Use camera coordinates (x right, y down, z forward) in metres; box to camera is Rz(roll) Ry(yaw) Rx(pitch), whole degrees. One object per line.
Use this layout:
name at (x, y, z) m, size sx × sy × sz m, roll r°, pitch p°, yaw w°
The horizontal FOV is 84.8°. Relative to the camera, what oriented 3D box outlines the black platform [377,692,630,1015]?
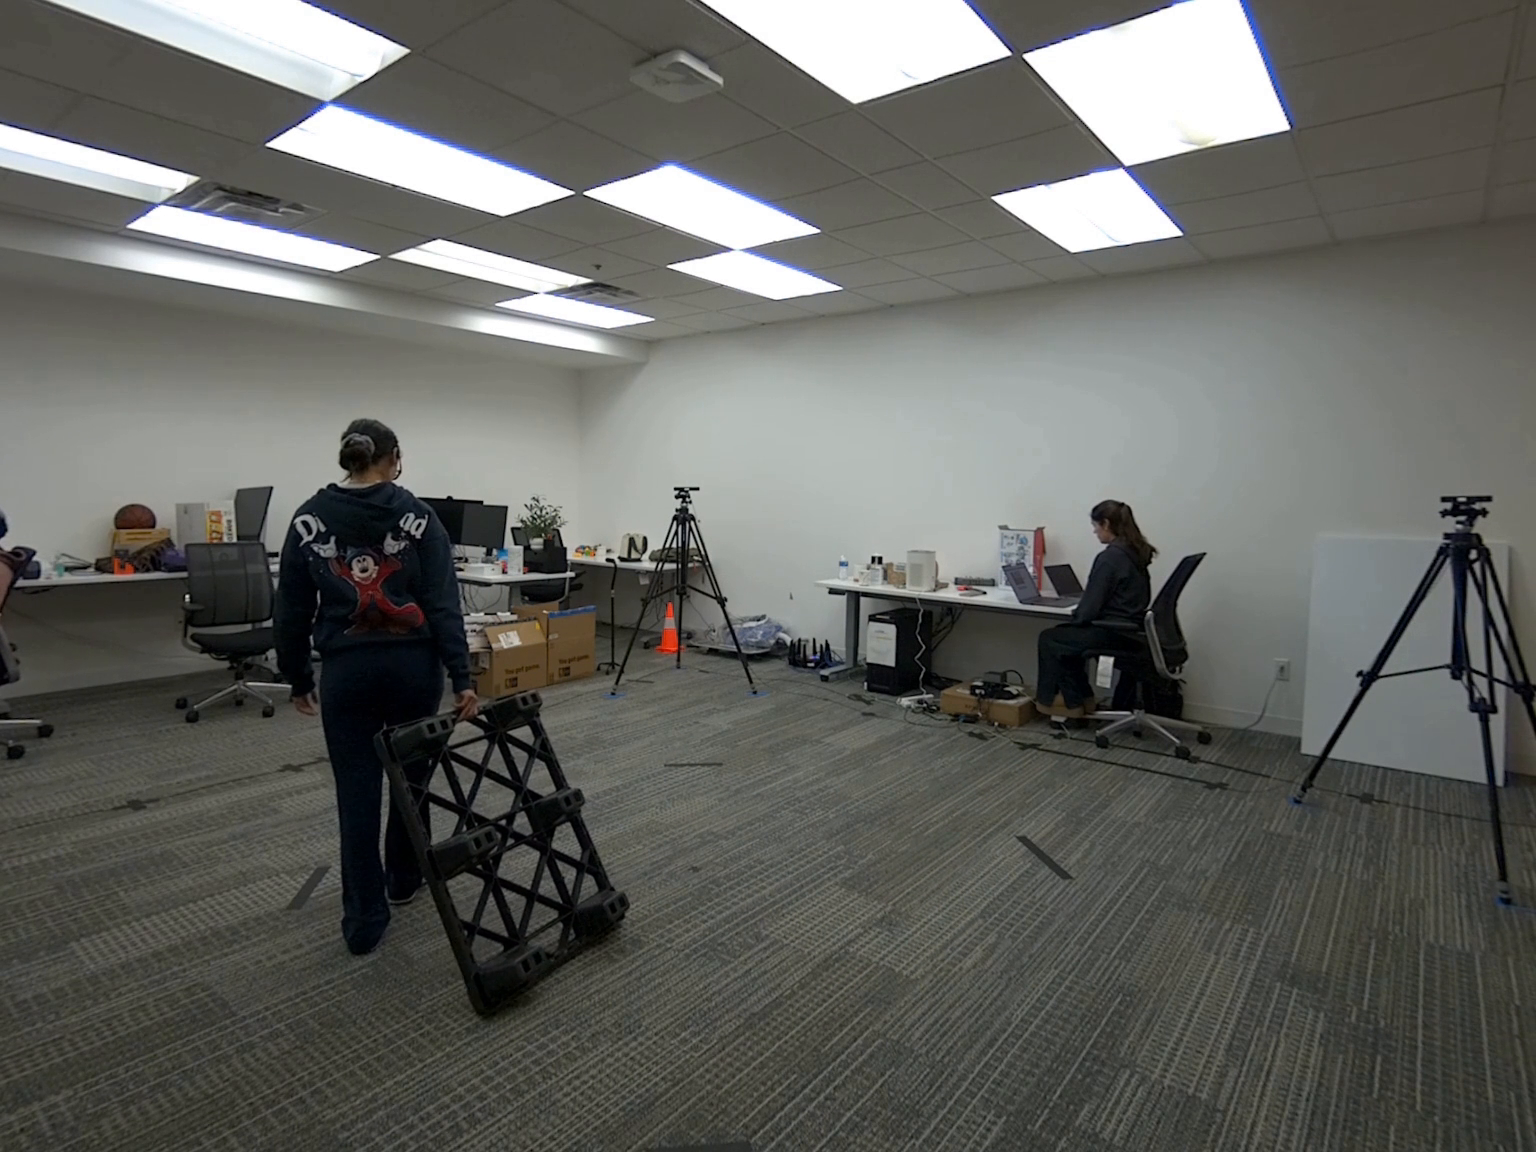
black platform at (-0.760, 0.748, 2.537) m, size 0.144 × 0.820 × 0.590 m, roll -34°, pitch -13°, yaw 27°
